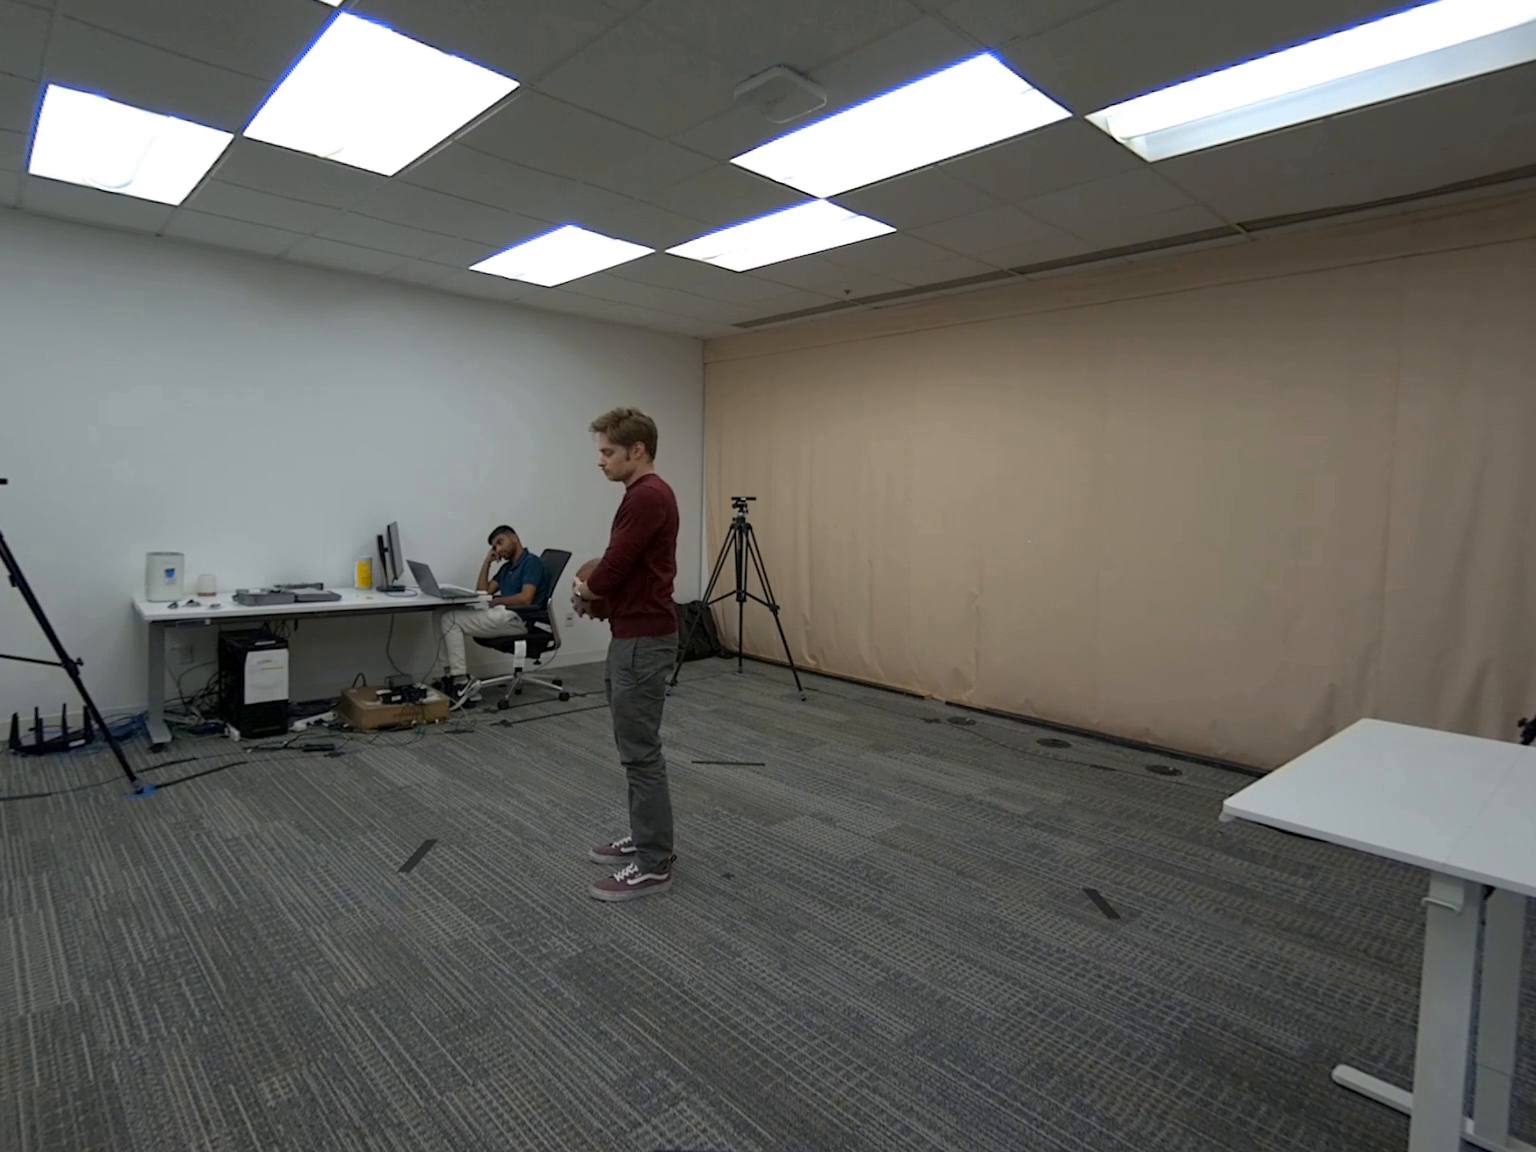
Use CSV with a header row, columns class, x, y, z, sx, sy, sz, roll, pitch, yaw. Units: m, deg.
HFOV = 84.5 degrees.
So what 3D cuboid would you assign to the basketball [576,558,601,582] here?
class,x,y,z,sx,sy,sz,roll,pitch,yaw
basketball,-0.640,0.053,3.227,0.236,0.235,0.237,1,4,-1
